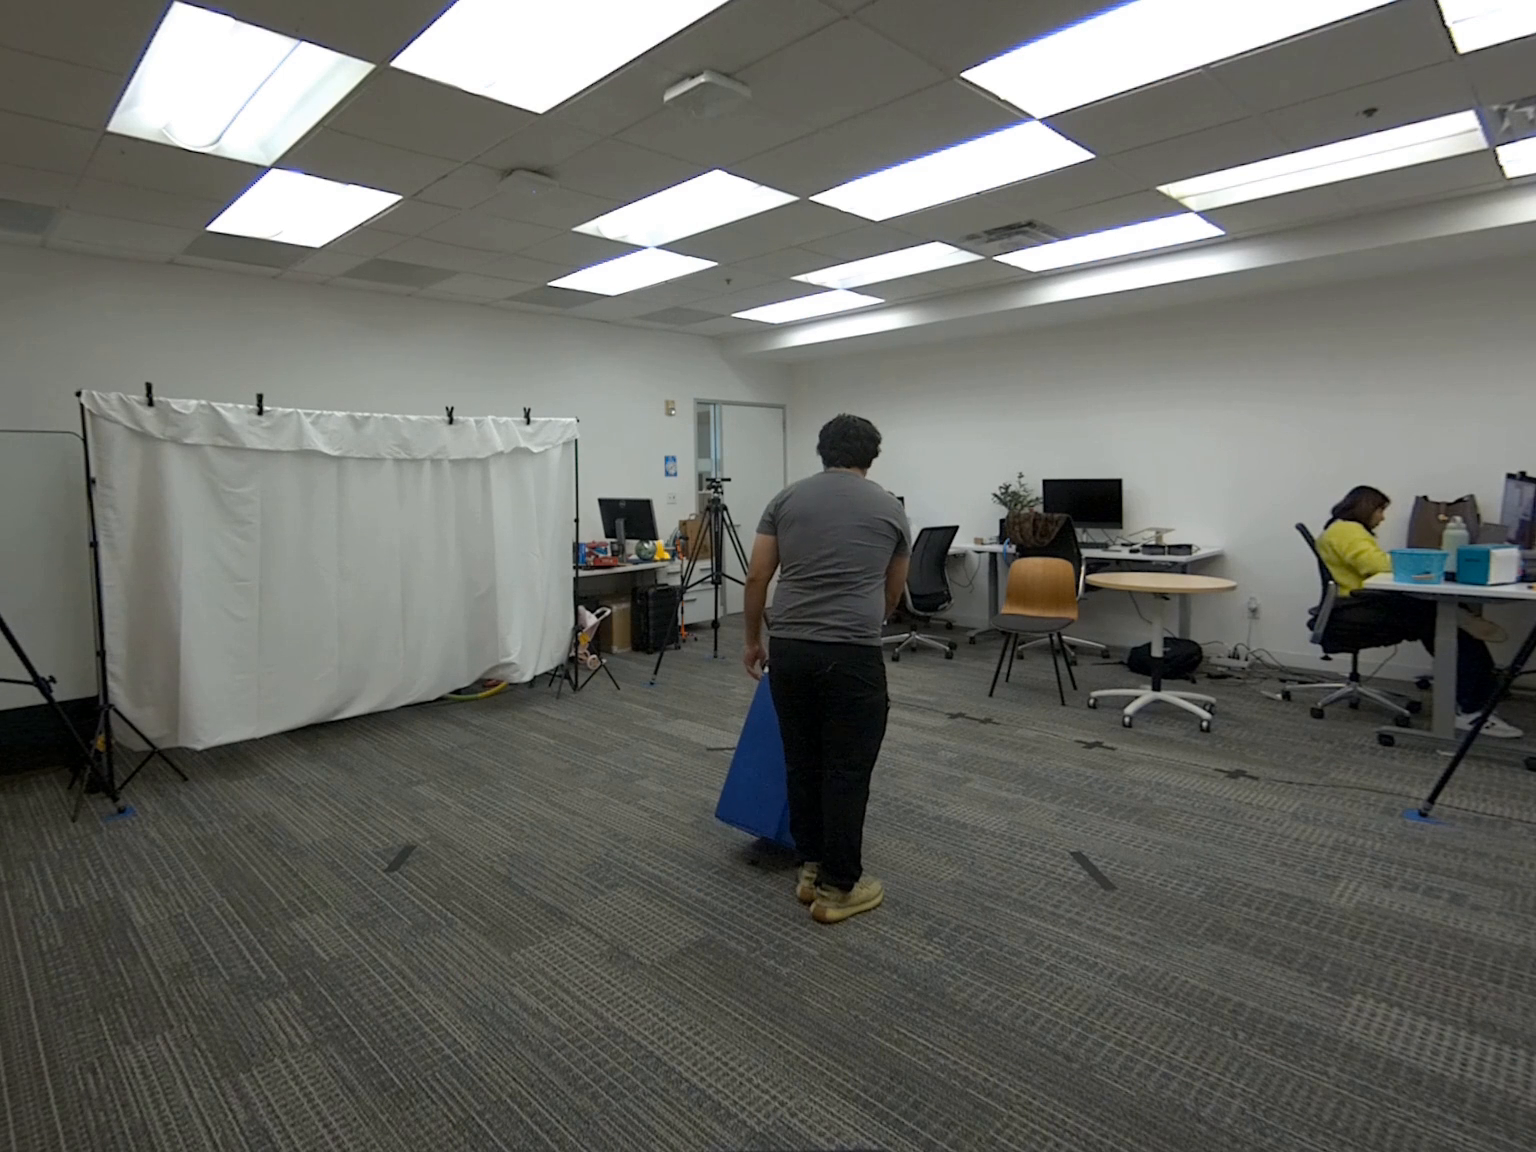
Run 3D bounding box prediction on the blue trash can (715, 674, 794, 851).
[{"bbox_3d":[0.124,0.640,3.234,0.390,0.719,0.359,4,-26,42],"label":"blue trash can"}]
